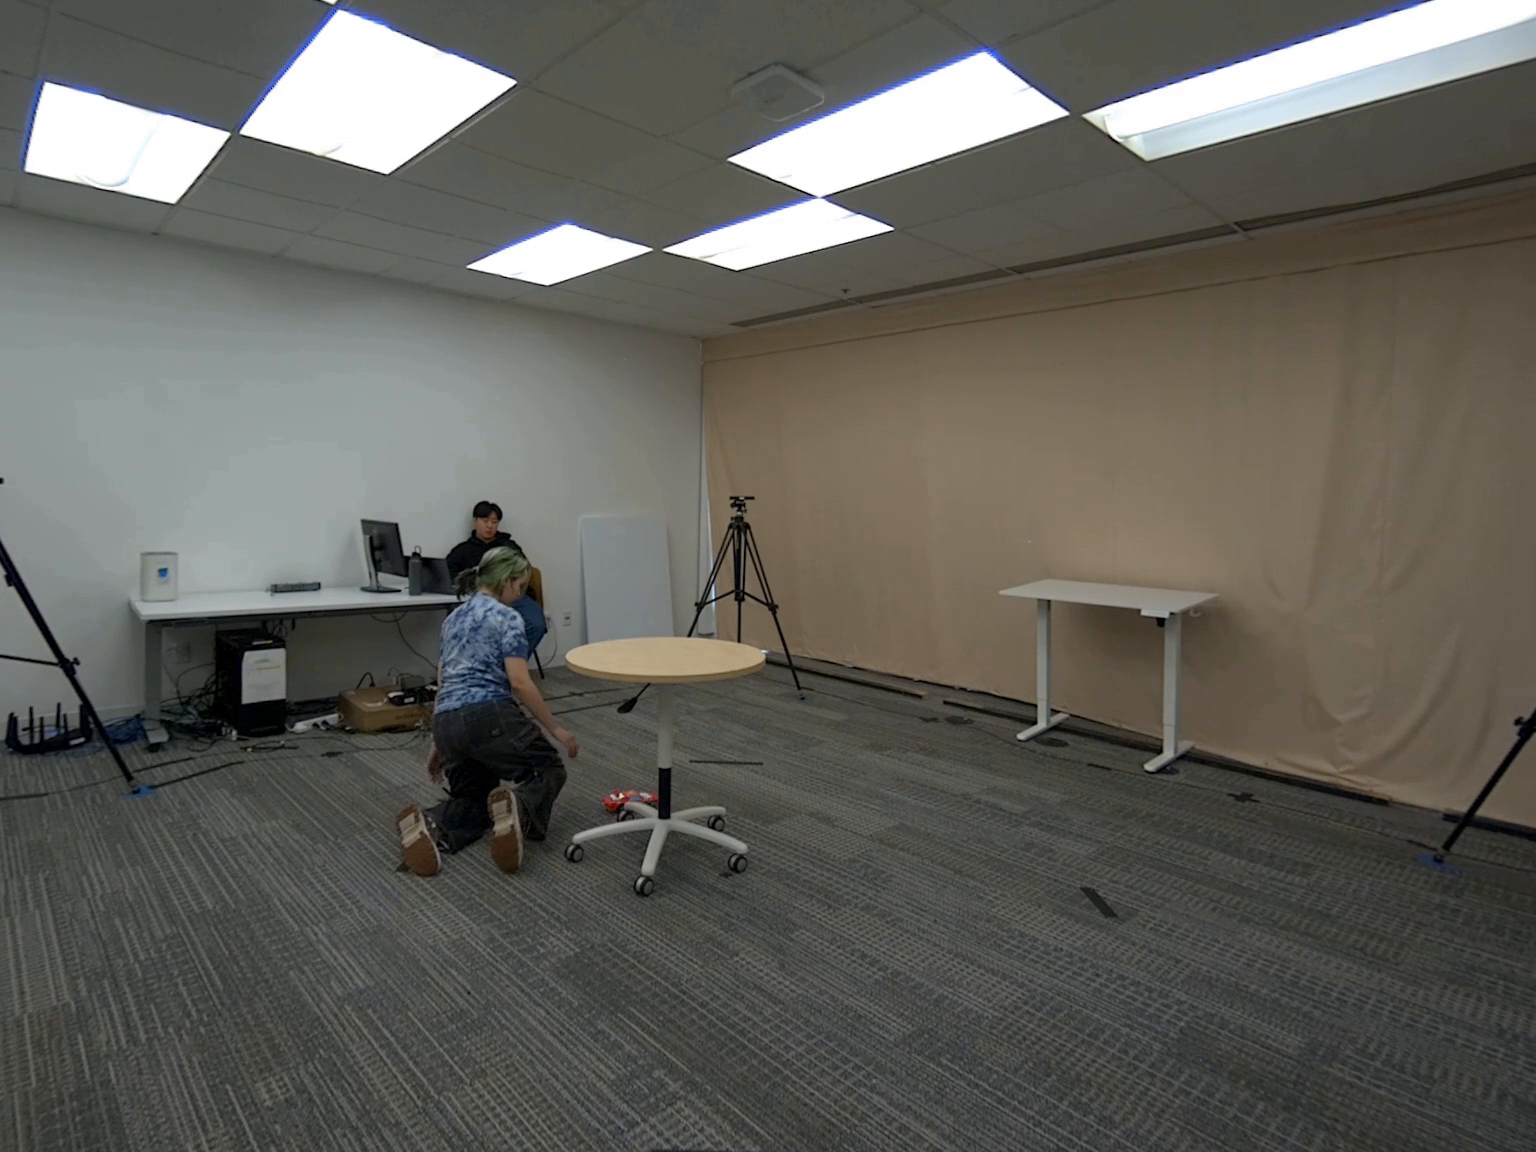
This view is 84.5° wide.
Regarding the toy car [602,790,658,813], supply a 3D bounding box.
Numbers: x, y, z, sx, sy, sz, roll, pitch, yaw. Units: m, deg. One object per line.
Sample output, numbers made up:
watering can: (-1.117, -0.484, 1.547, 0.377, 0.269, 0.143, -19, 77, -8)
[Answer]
toy car: (-0.630, 1.005, 3.749, 0.249, 0.083, 0.133, 12, -2, -27)
